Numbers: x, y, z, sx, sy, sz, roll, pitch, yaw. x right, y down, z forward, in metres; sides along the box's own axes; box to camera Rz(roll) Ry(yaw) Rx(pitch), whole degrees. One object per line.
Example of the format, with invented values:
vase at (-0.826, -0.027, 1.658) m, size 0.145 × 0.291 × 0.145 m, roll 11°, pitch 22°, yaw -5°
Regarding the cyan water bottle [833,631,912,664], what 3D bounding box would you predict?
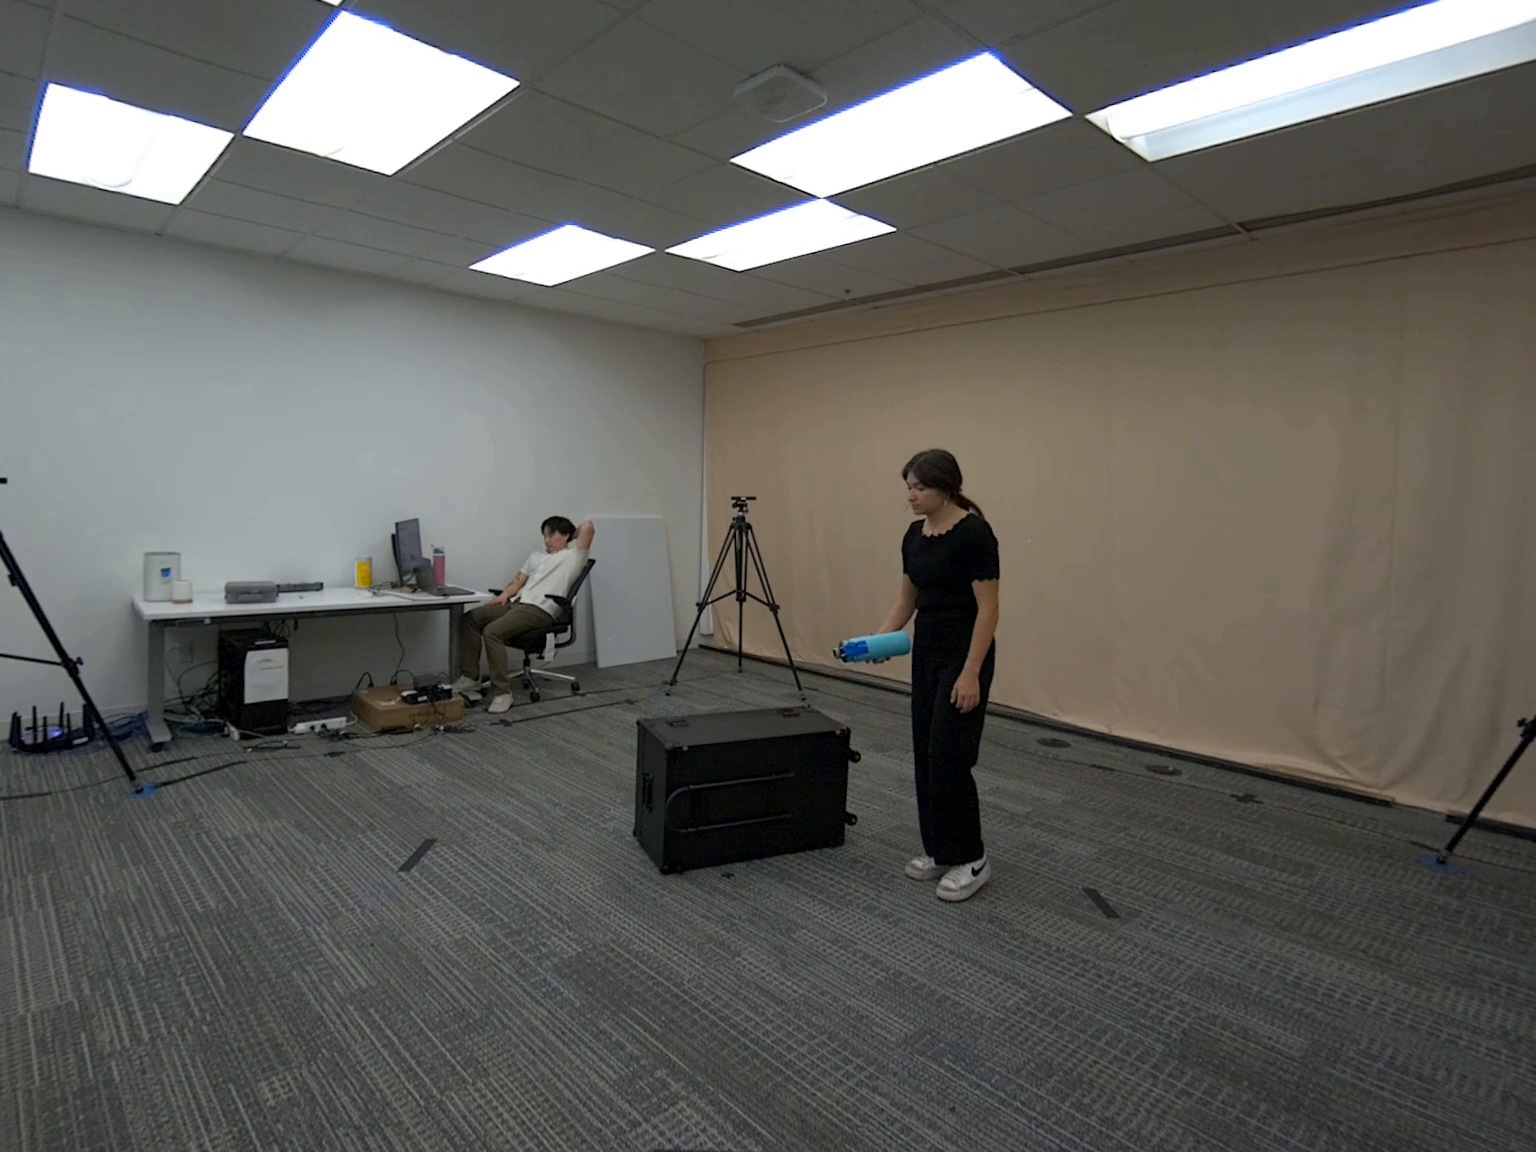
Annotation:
cyan water bottle at (0.374, 0.270, 3.099) m, size 0.280 × 0.092 × 0.094 m, roll -7°, pitch 6°, yaw -17°
